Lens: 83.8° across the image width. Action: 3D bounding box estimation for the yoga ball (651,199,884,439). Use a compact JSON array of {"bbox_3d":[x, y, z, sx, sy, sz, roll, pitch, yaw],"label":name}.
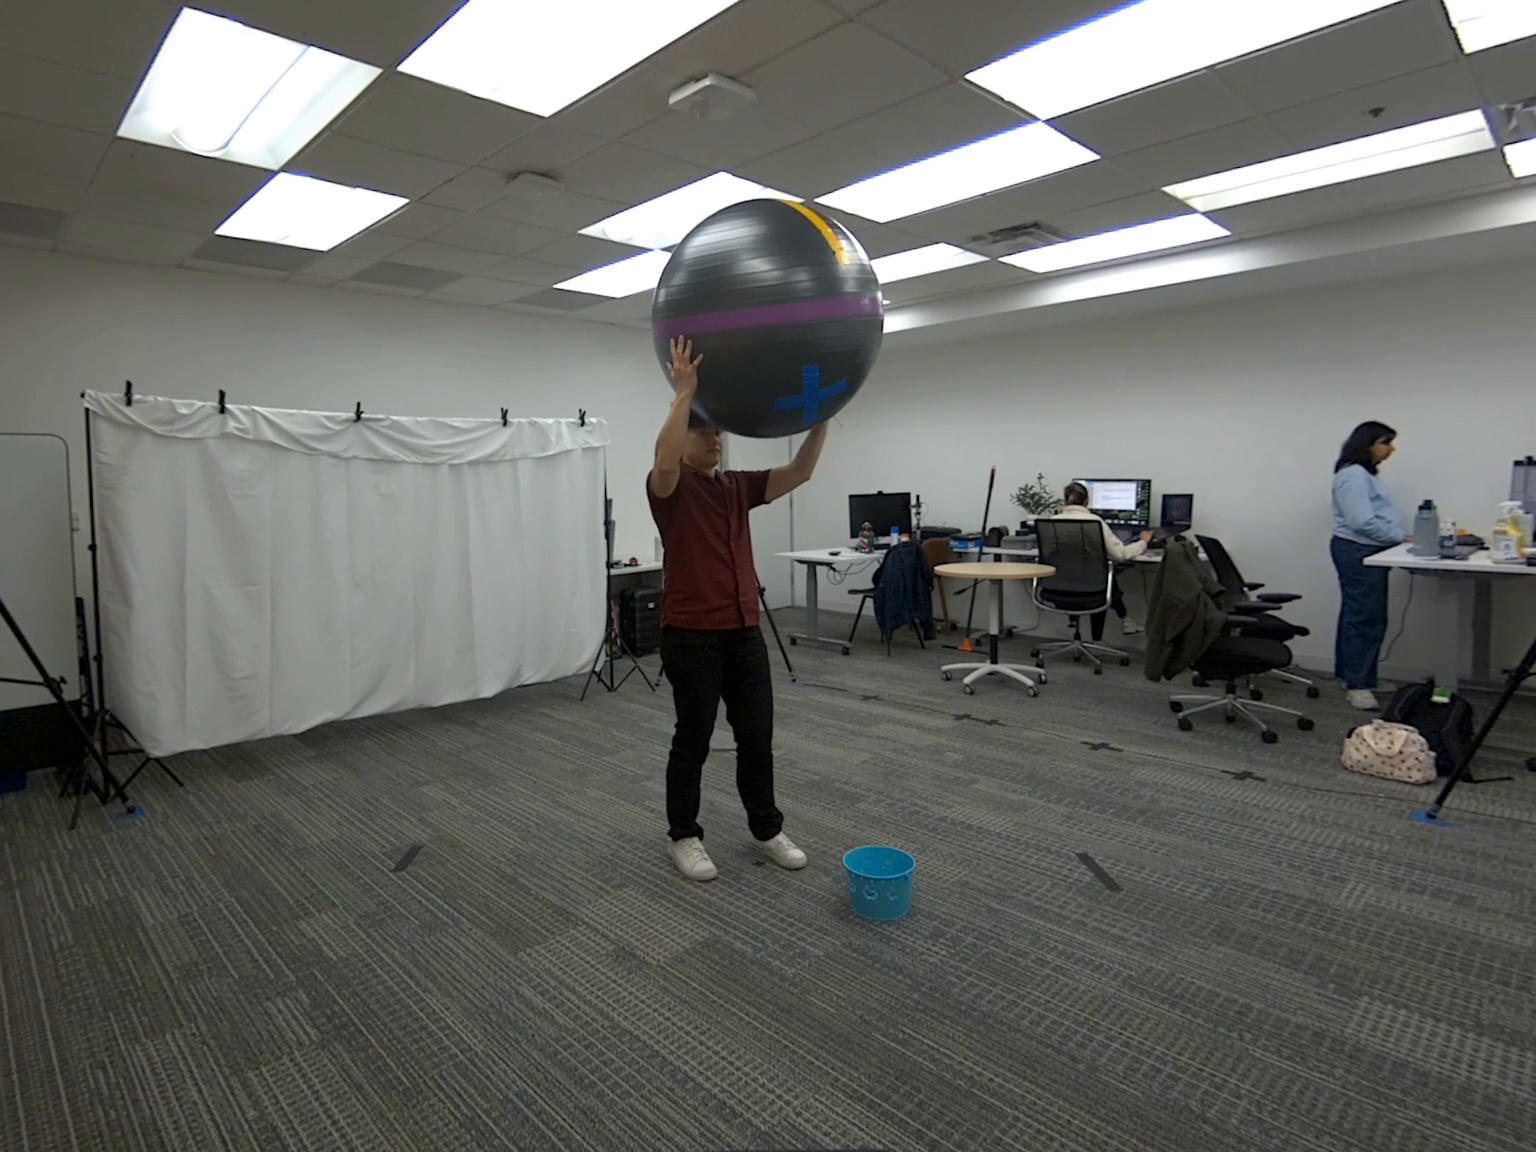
[{"bbox_3d":[-0.002,-0.834,2.814,0.757,0.755,0.762,-1,5,-2],"label":"yoga ball"}]
